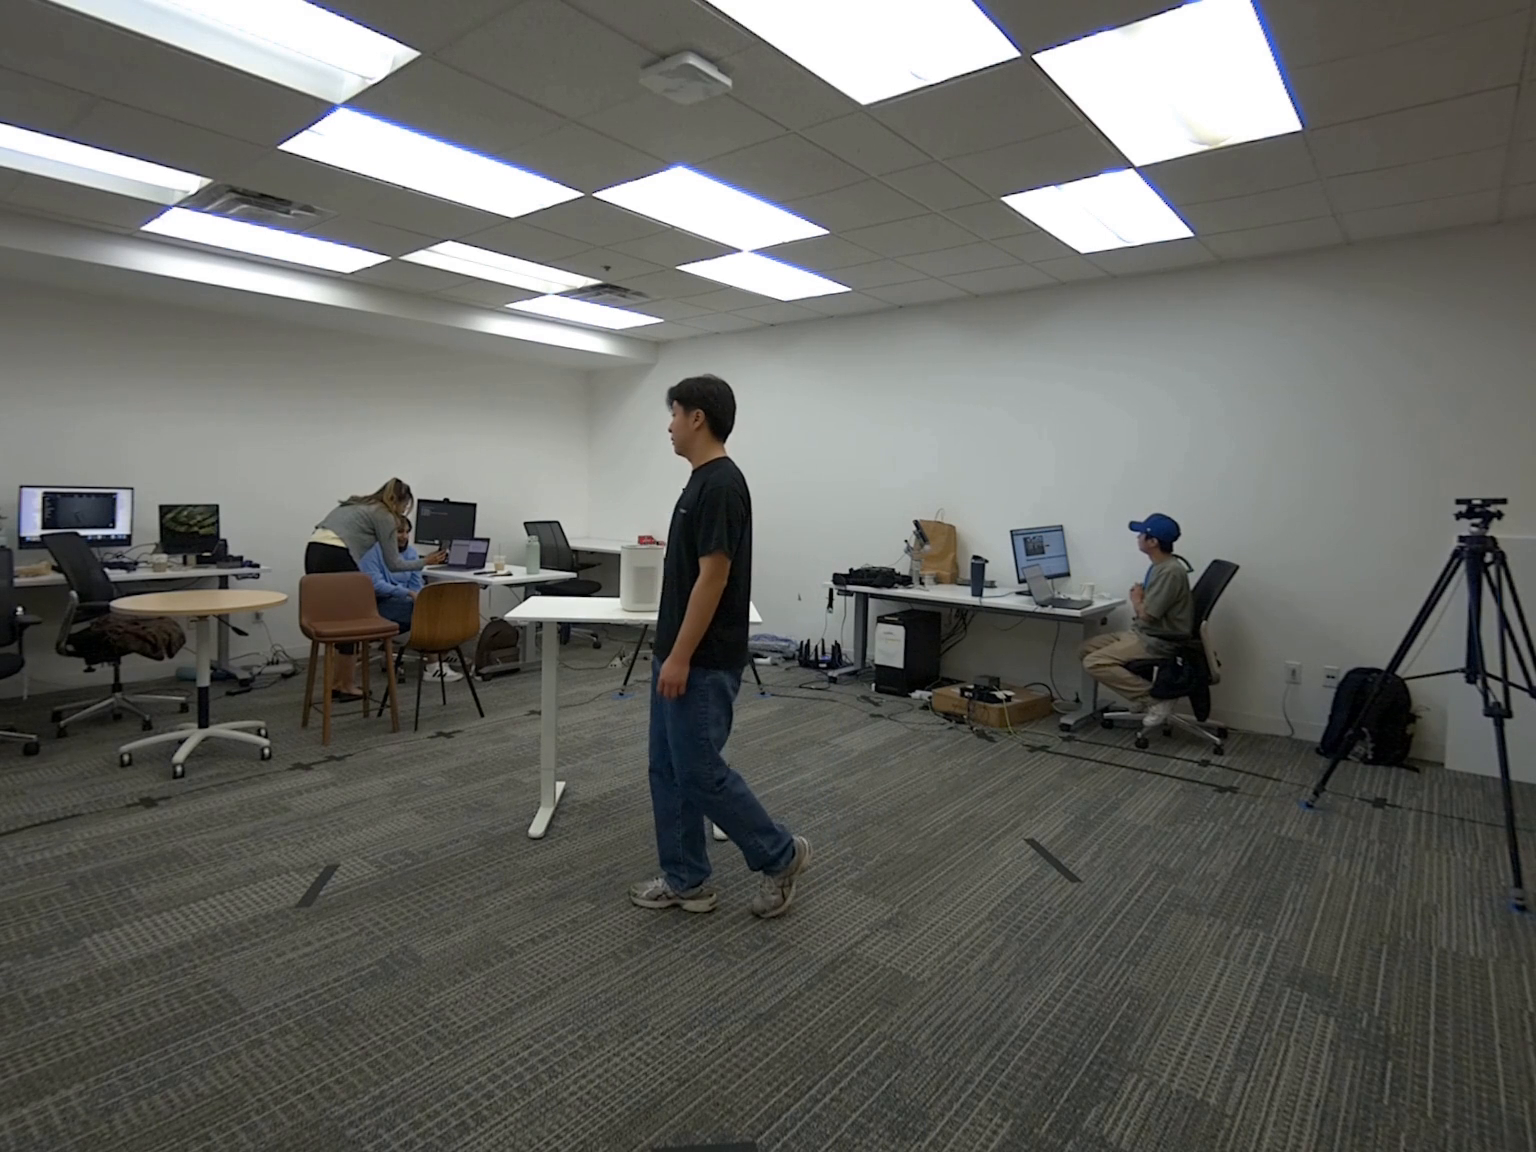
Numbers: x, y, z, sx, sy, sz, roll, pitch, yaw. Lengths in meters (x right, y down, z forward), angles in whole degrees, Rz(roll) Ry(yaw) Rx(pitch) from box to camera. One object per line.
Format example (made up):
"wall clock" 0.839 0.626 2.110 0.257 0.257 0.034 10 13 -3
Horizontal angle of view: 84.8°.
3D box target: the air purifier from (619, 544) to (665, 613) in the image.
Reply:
"air purifier" -0.540 0.007 3.562 0.169 0.265 0.174 2 1 -14
